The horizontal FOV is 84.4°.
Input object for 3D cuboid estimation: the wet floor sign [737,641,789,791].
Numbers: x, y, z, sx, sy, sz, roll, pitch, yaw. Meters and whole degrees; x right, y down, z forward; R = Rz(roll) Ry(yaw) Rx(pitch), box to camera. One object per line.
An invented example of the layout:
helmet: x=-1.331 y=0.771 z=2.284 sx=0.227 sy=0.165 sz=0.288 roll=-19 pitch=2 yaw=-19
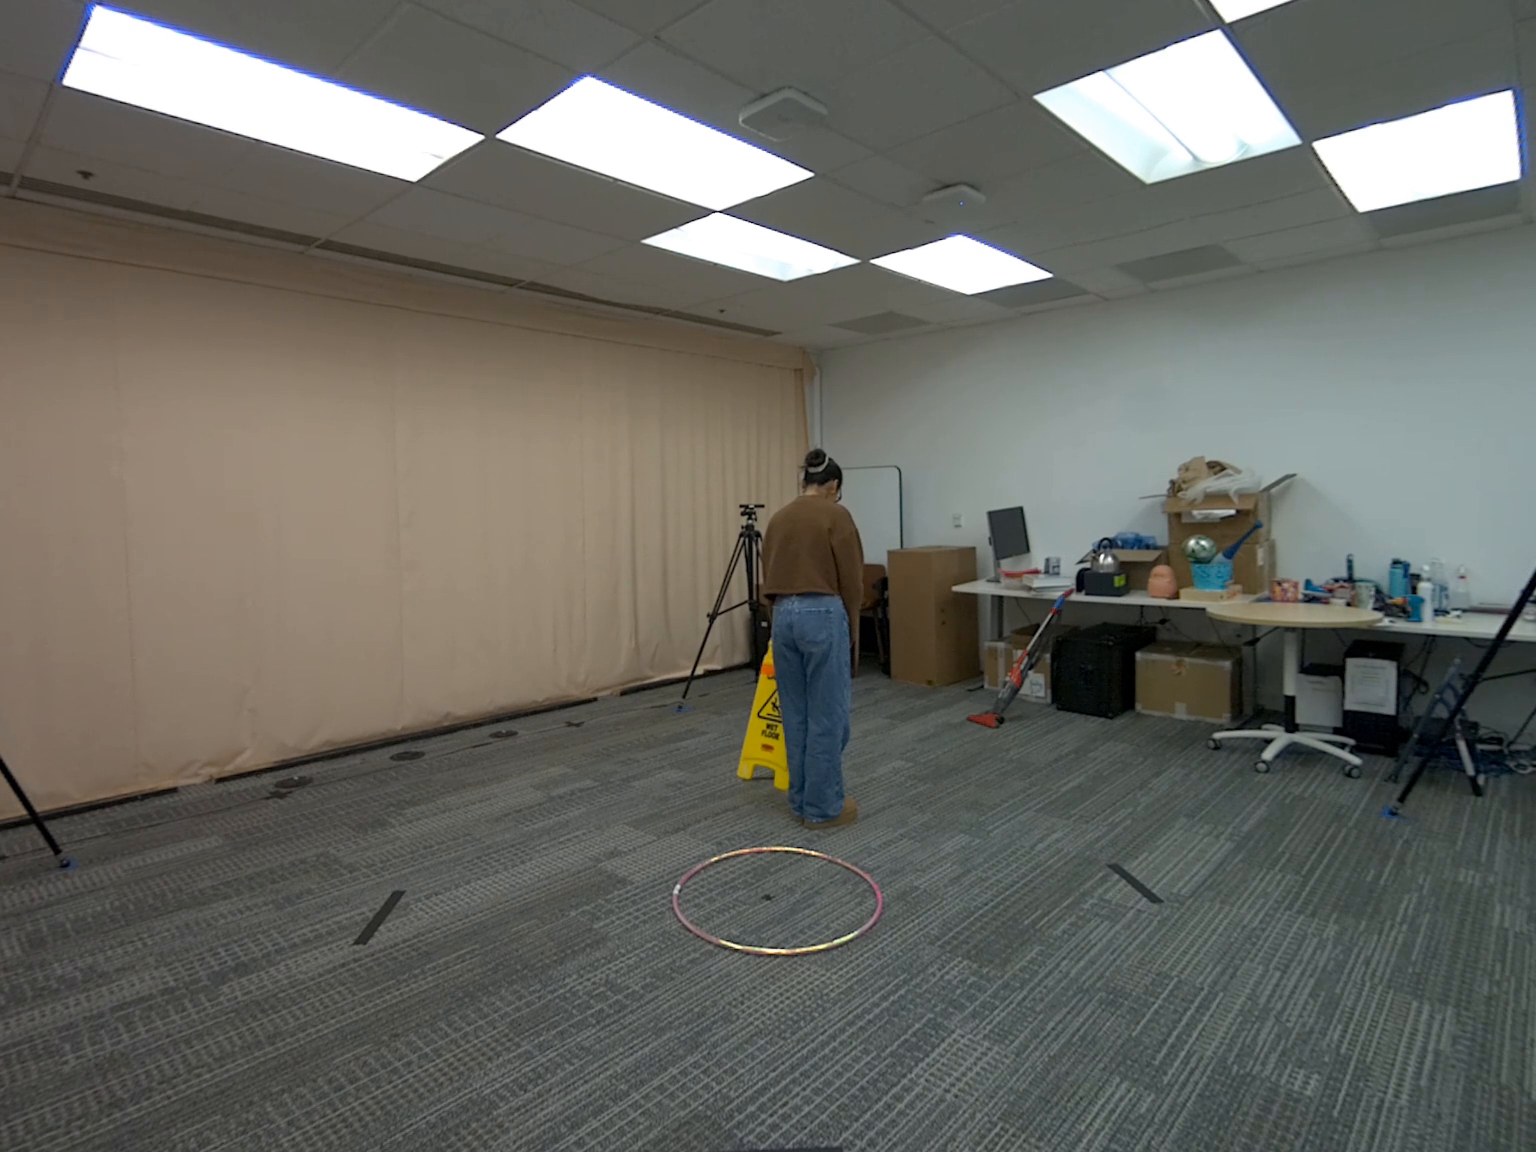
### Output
wet floor sign: x=0.075 y=0.623 z=3.940 sx=0.291 sy=0.645 sz=0.281 roll=6 pitch=2 yaw=34
